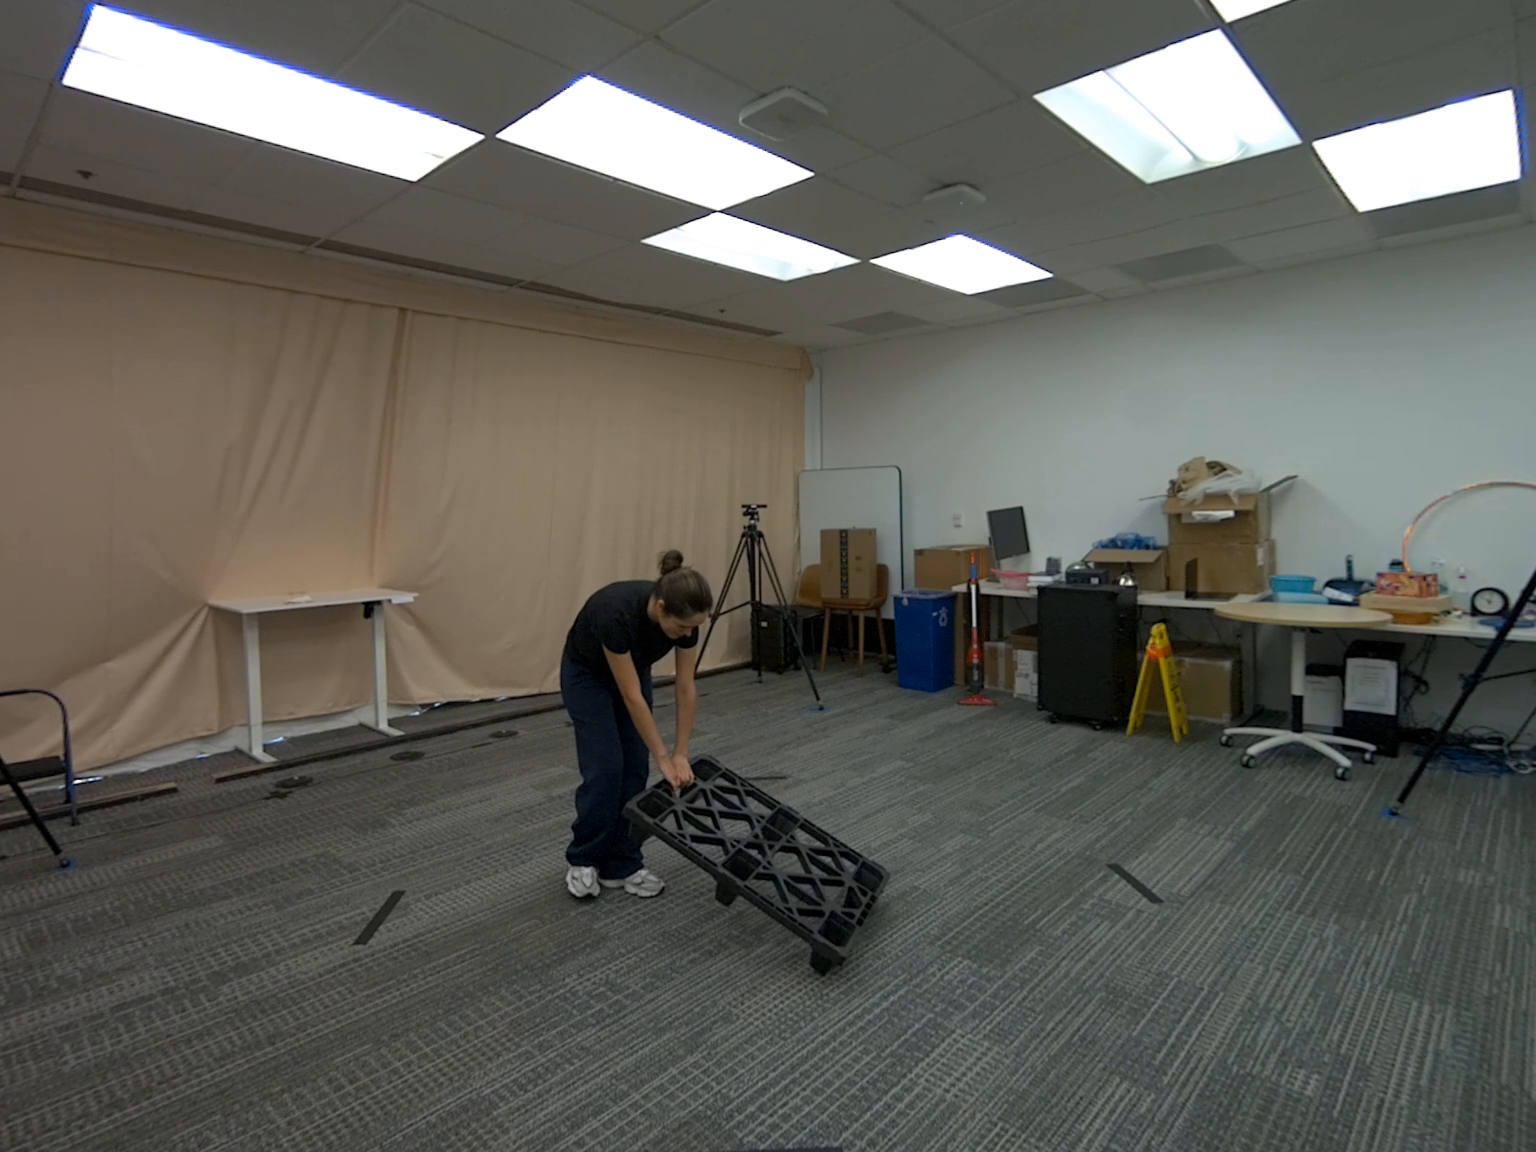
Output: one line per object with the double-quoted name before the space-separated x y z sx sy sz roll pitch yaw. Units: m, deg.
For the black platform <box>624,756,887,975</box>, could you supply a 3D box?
"black platform" -0.026 0.935 2.814 0.824 0.143 0.592 28 13 18
